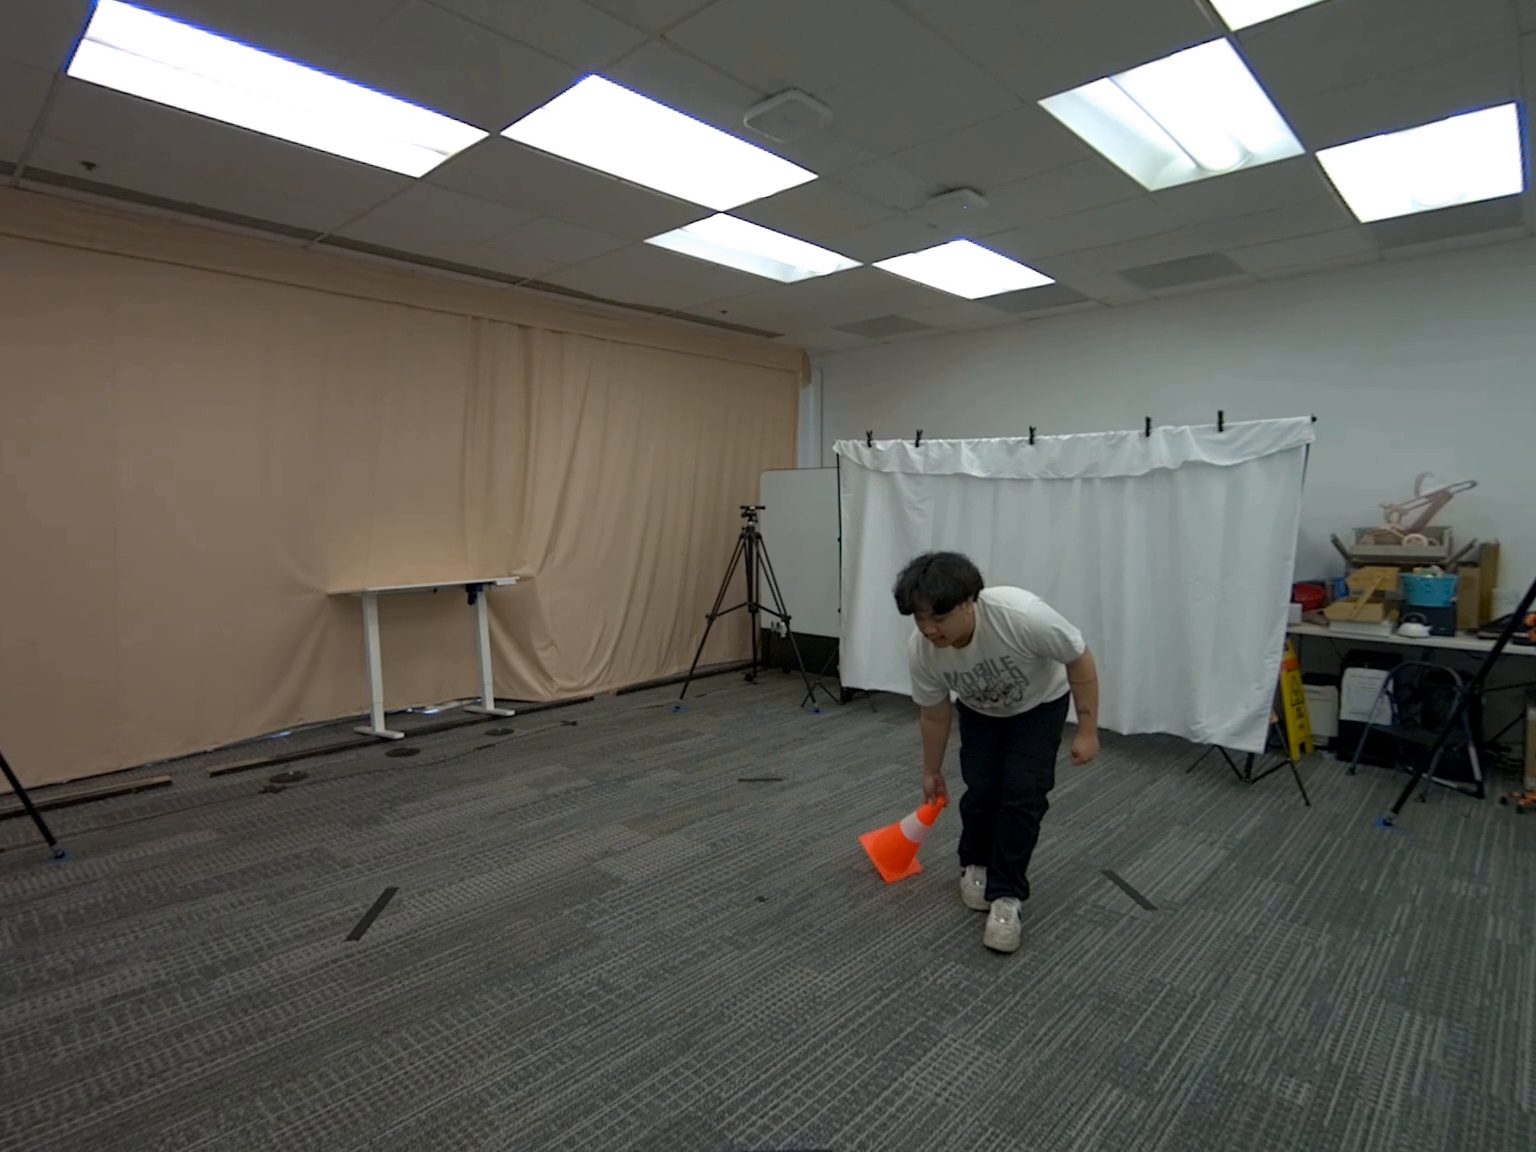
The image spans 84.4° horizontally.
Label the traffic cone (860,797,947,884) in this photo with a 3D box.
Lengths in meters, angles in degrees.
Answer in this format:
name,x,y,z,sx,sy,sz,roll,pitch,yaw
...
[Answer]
name,x,y,z,sx,sy,sz,roll,pitch,yaw
traffic cone,0.547,0.928,3.099,0.200,0.382,0.209,-18,54,-42
